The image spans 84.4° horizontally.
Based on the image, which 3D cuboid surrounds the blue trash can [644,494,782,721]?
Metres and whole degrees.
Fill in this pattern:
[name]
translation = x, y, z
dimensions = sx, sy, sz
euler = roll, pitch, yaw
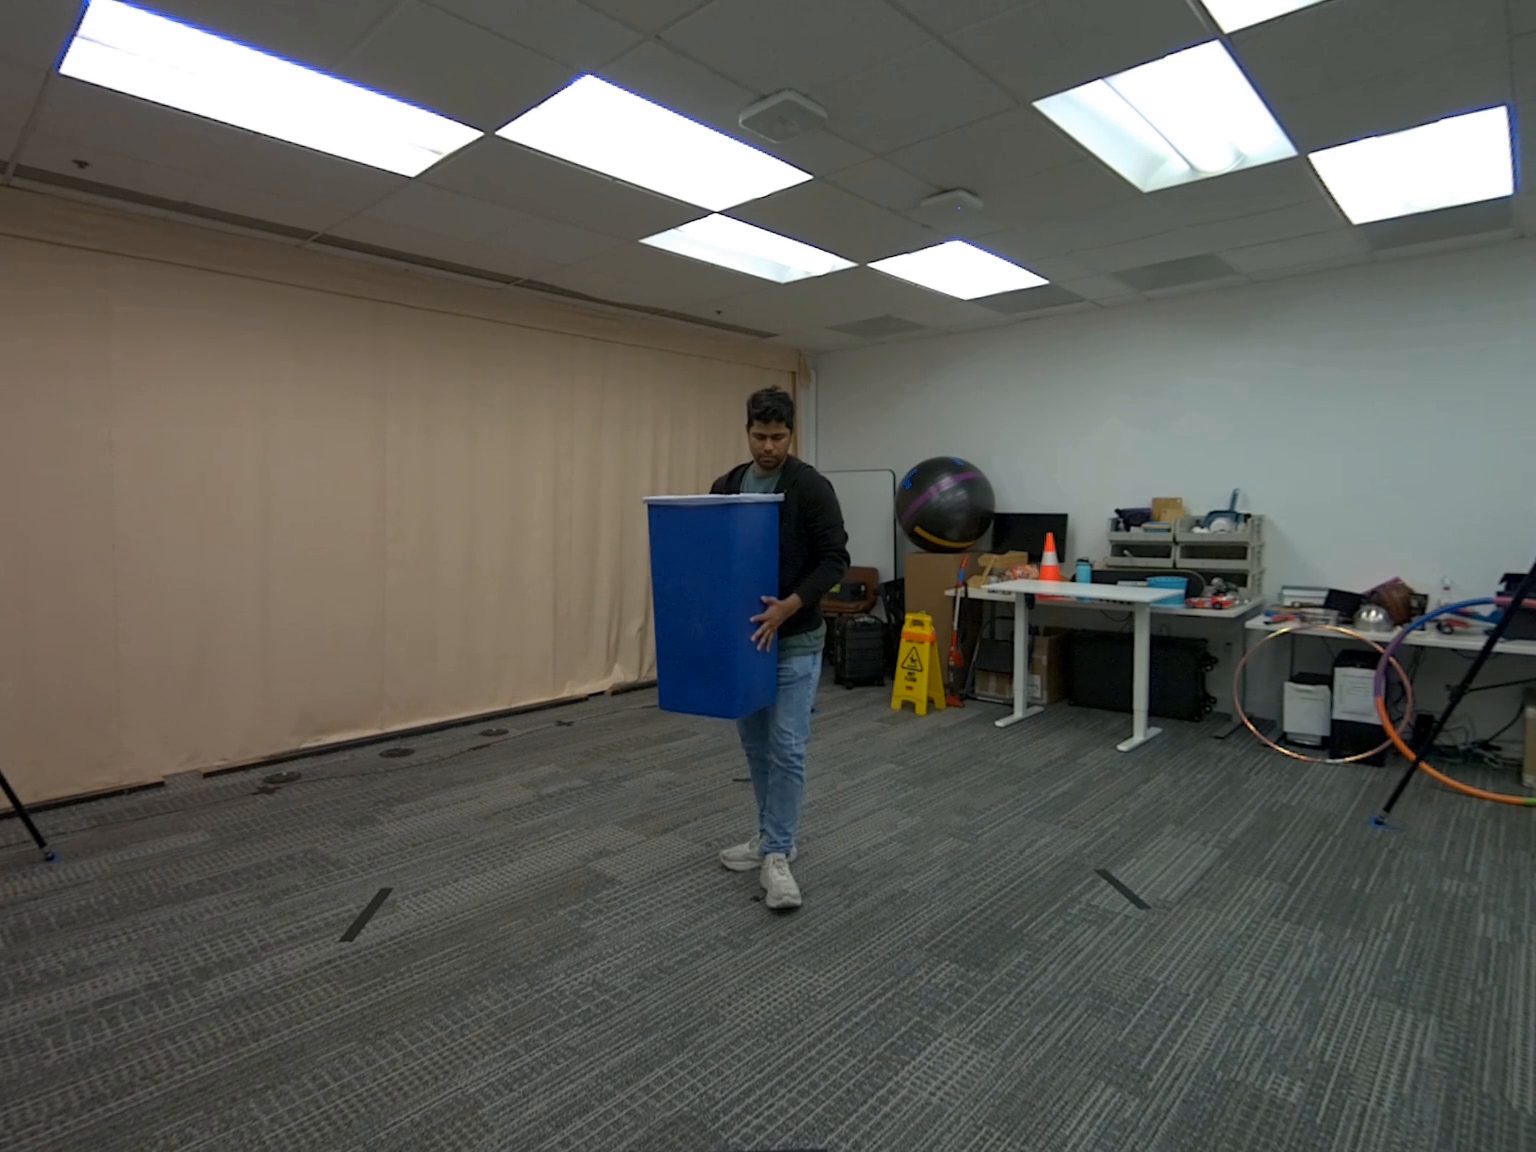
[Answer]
[blue trash can]
translation = -0.169, 0.088, 2.838
dimensions = 0.388, 0.712, 0.364
euler = 0, 3, 28
